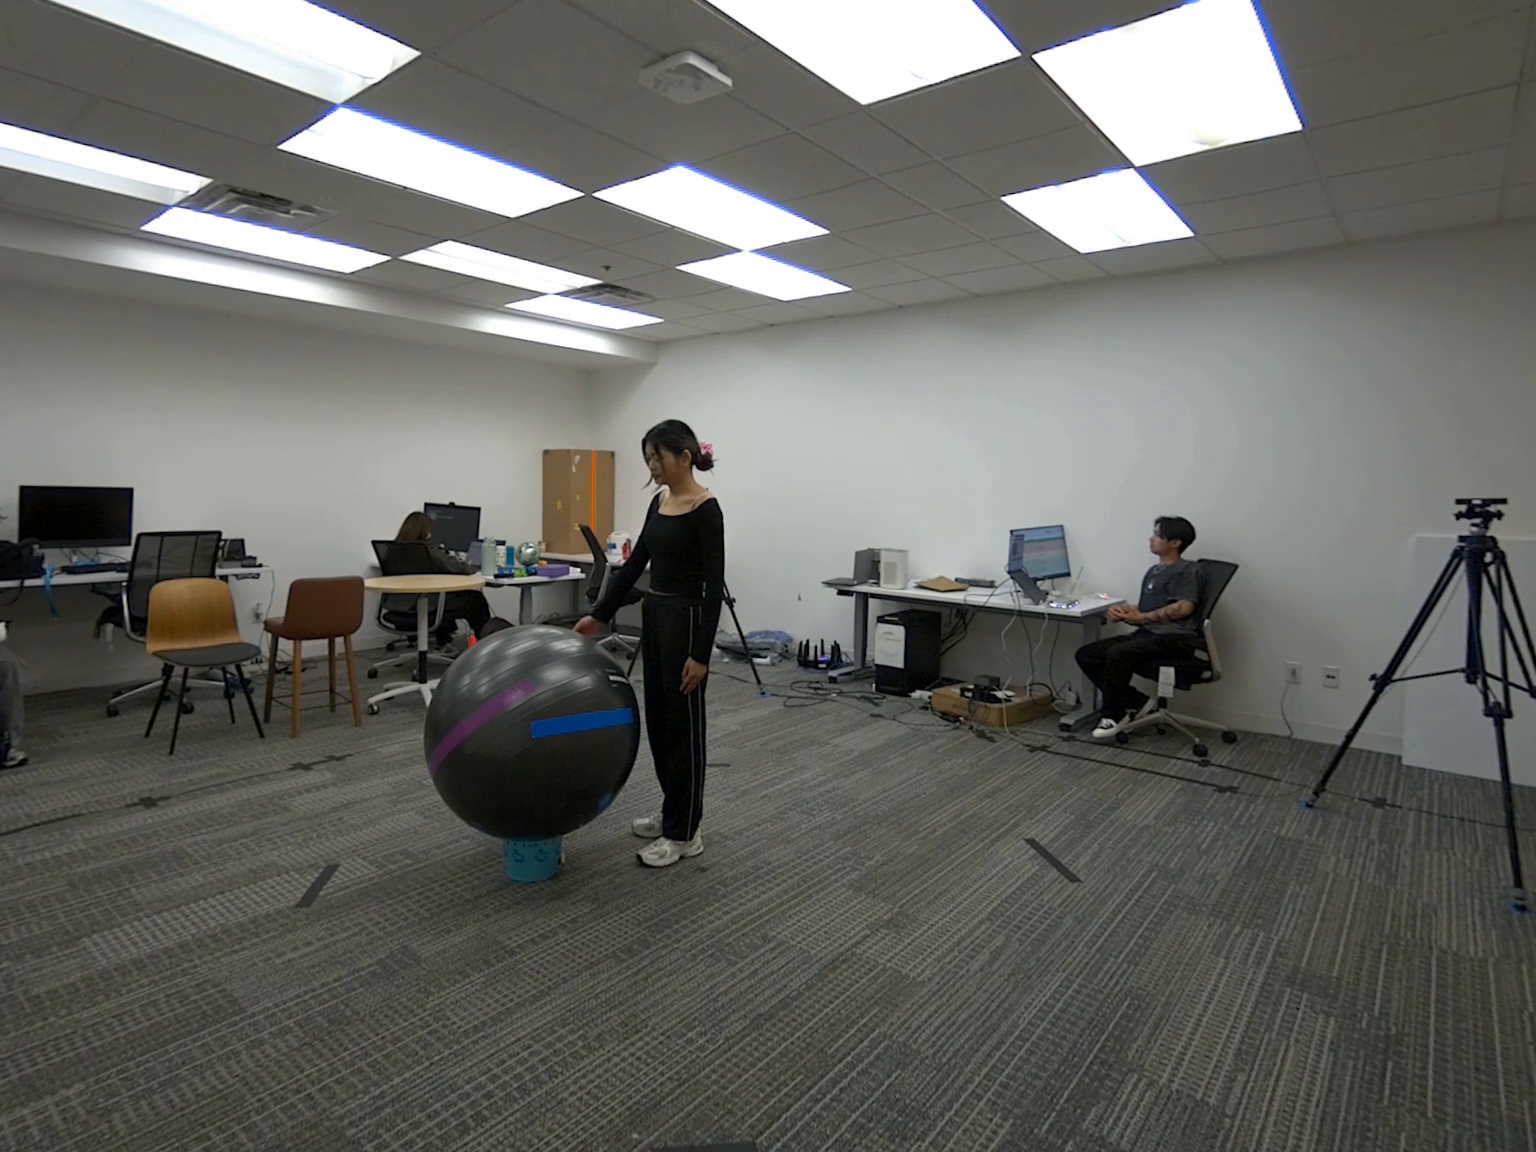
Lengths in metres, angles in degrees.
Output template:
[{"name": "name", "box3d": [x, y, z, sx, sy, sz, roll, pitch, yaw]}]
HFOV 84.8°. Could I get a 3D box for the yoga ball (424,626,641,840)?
[{"name": "yoga ball", "box3d": [-0.861, 0.557, 3.053, 0.757, 0.756, 0.762, 1, 4, -2]}]
